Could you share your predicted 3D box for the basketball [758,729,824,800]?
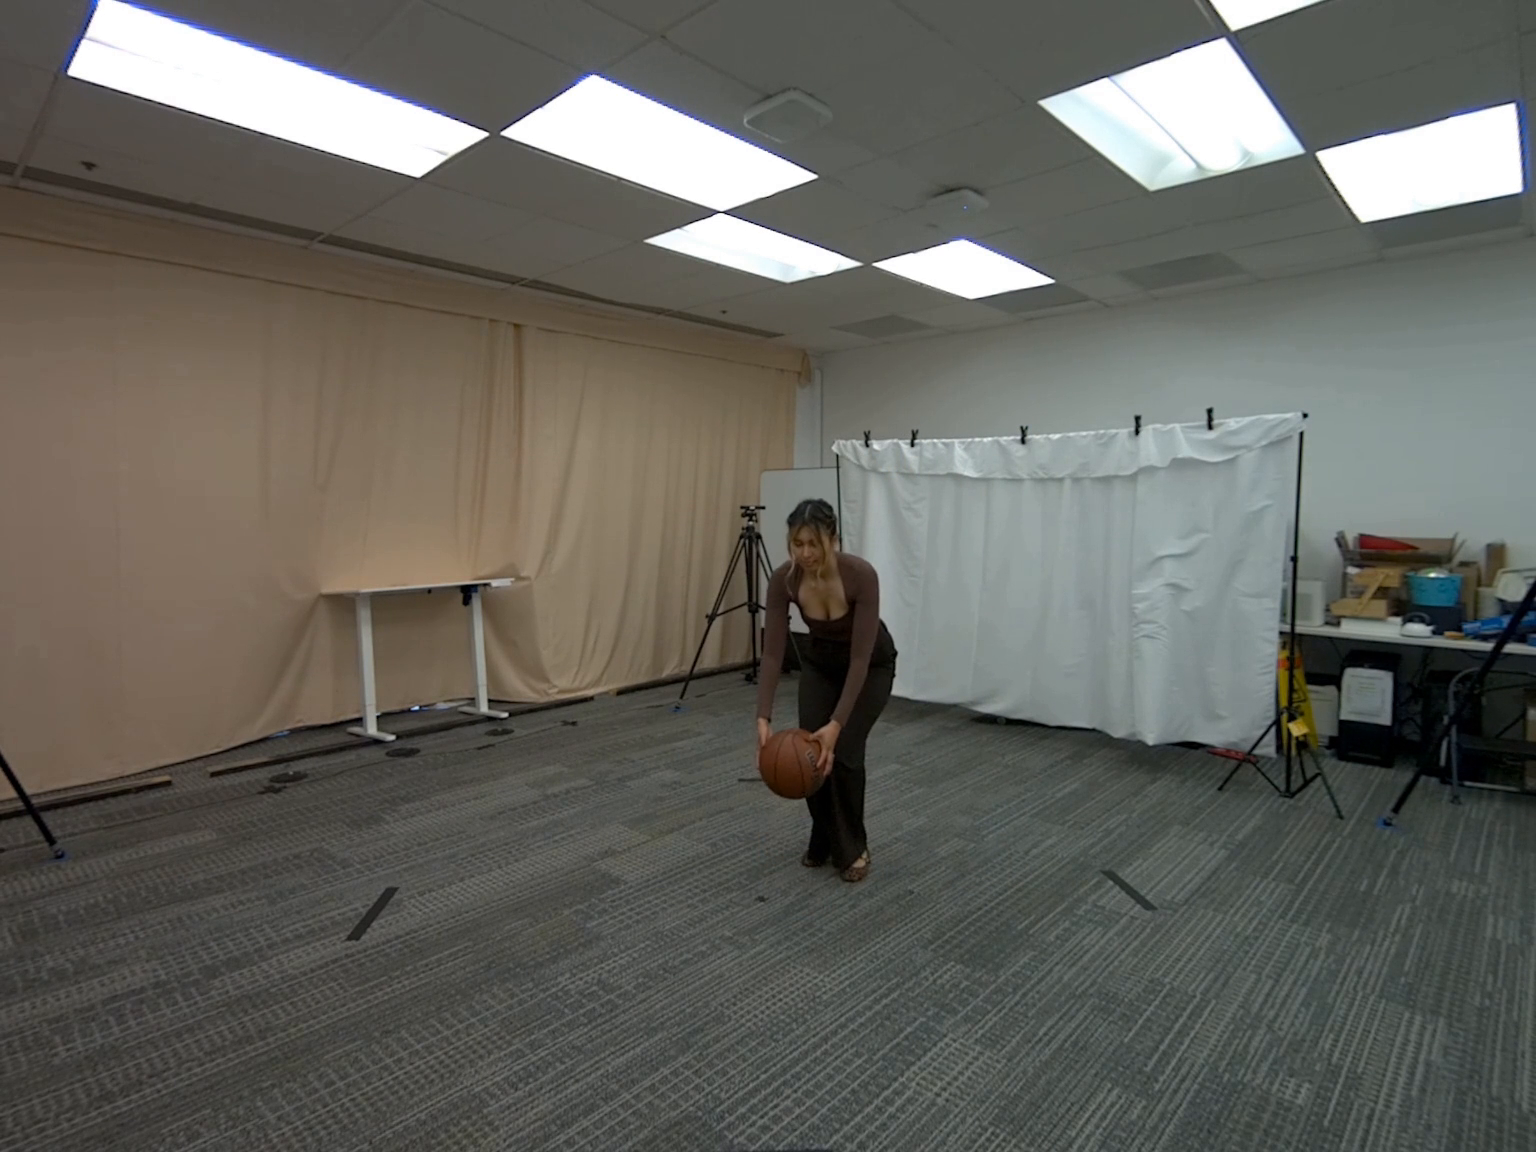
[{"bbox_3d":[0.090,0.639,2.899,0.236,0.235,0.237,0,4,-2],"label":"basketball"}]
